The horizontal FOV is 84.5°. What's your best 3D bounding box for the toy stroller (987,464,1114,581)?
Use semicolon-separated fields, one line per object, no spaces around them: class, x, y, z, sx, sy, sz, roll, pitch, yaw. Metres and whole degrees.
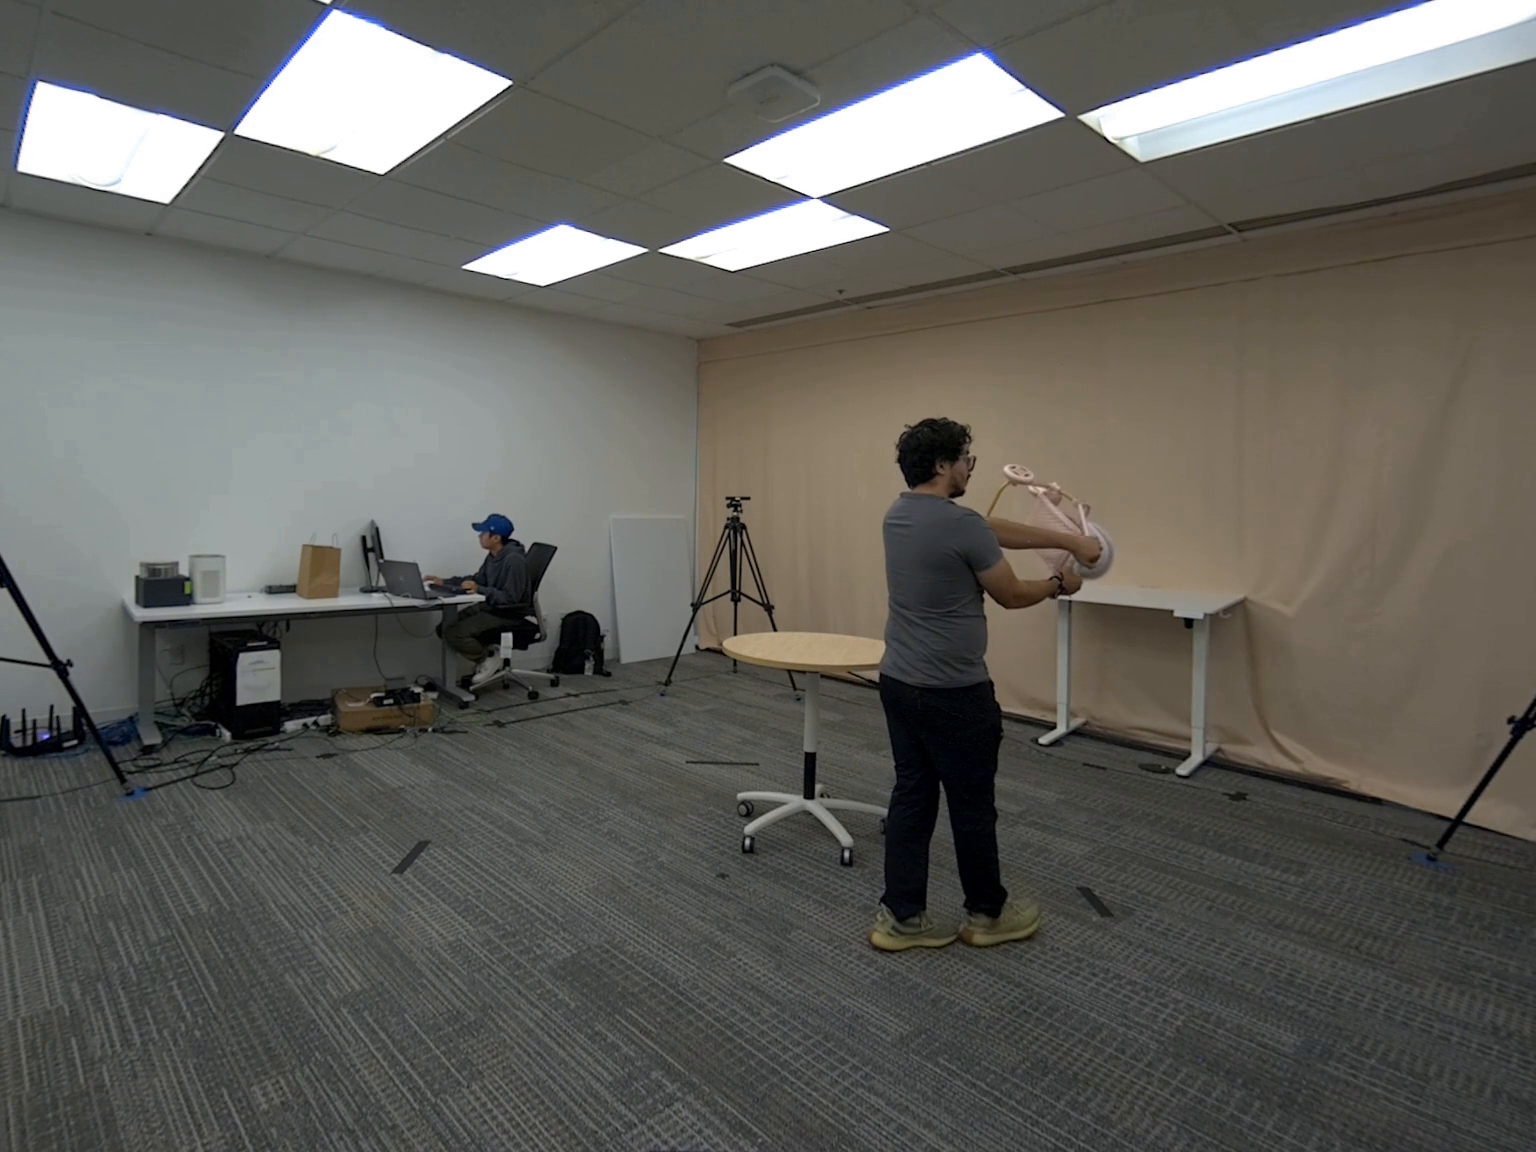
toy stroller;1.006;-0.167;2.972;0.334;0.278;0.552;0;36;-31
